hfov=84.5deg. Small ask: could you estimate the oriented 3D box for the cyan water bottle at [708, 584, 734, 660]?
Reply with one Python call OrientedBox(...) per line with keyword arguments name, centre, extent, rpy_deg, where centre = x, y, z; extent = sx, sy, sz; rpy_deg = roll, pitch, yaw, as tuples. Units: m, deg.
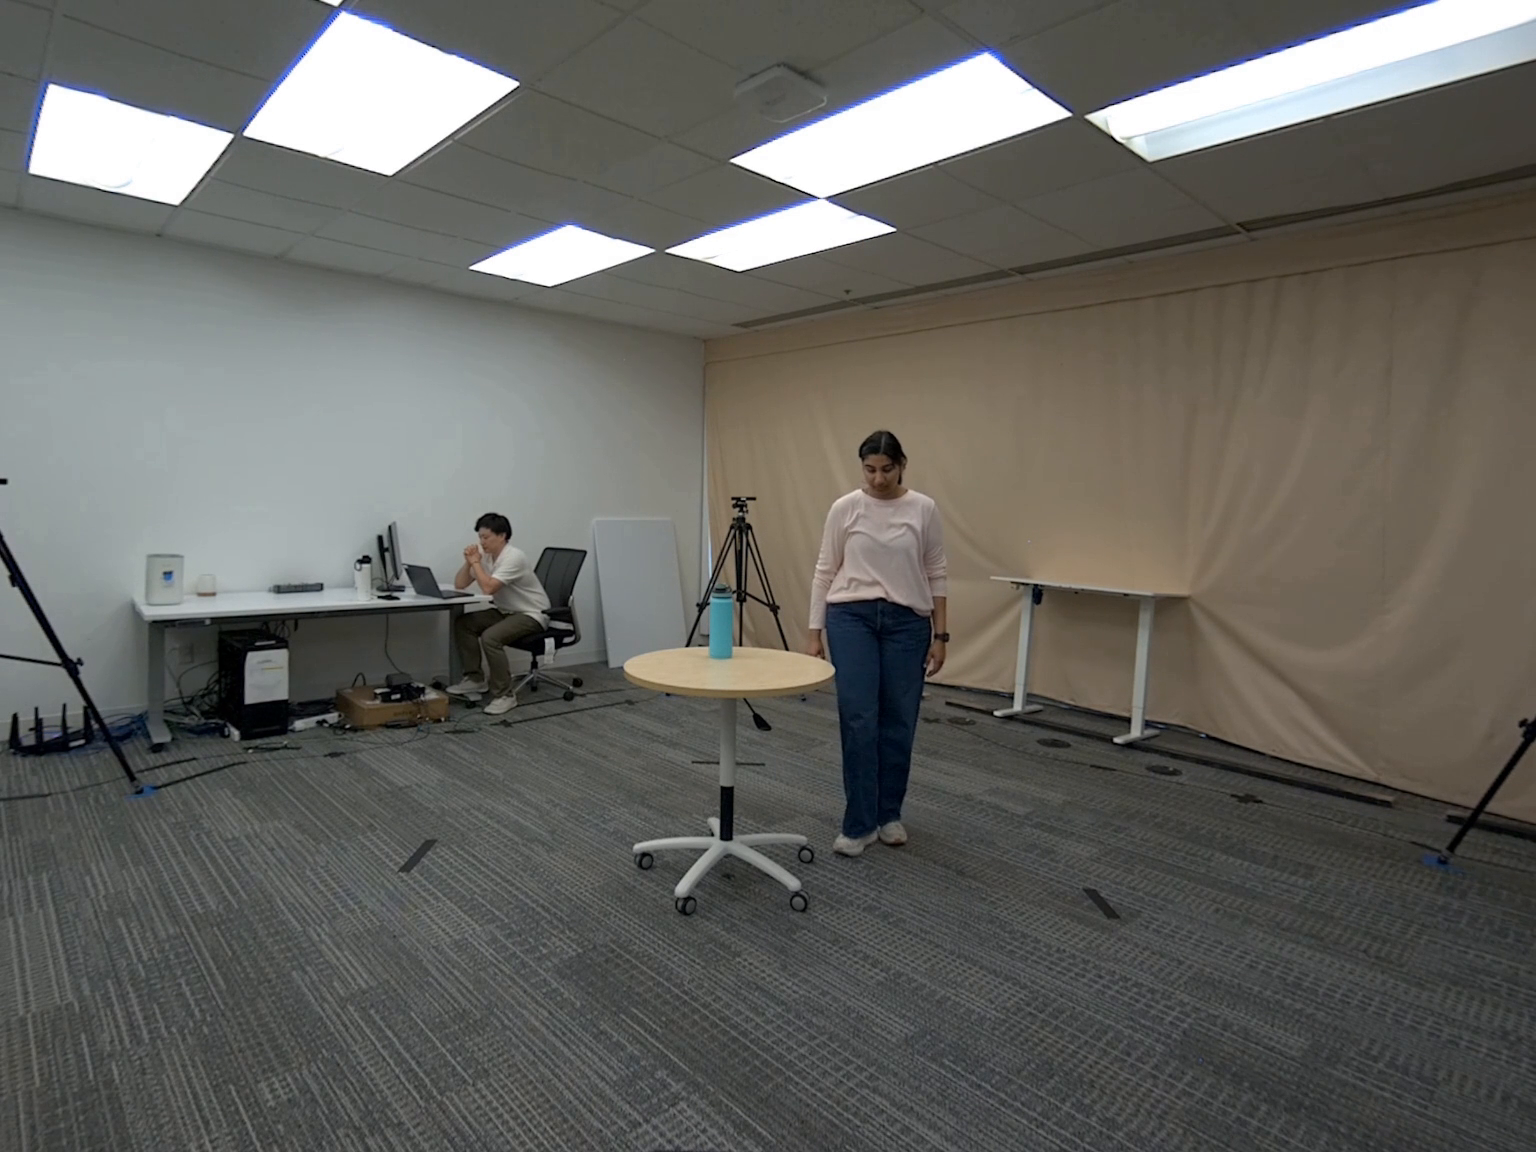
OrientedBox(name="cyan water bottle", centre=(-0.189, 0.173, 3.223), extent=(0.092, 0.283, 0.092), rpy_deg=(0, 1, -1))
